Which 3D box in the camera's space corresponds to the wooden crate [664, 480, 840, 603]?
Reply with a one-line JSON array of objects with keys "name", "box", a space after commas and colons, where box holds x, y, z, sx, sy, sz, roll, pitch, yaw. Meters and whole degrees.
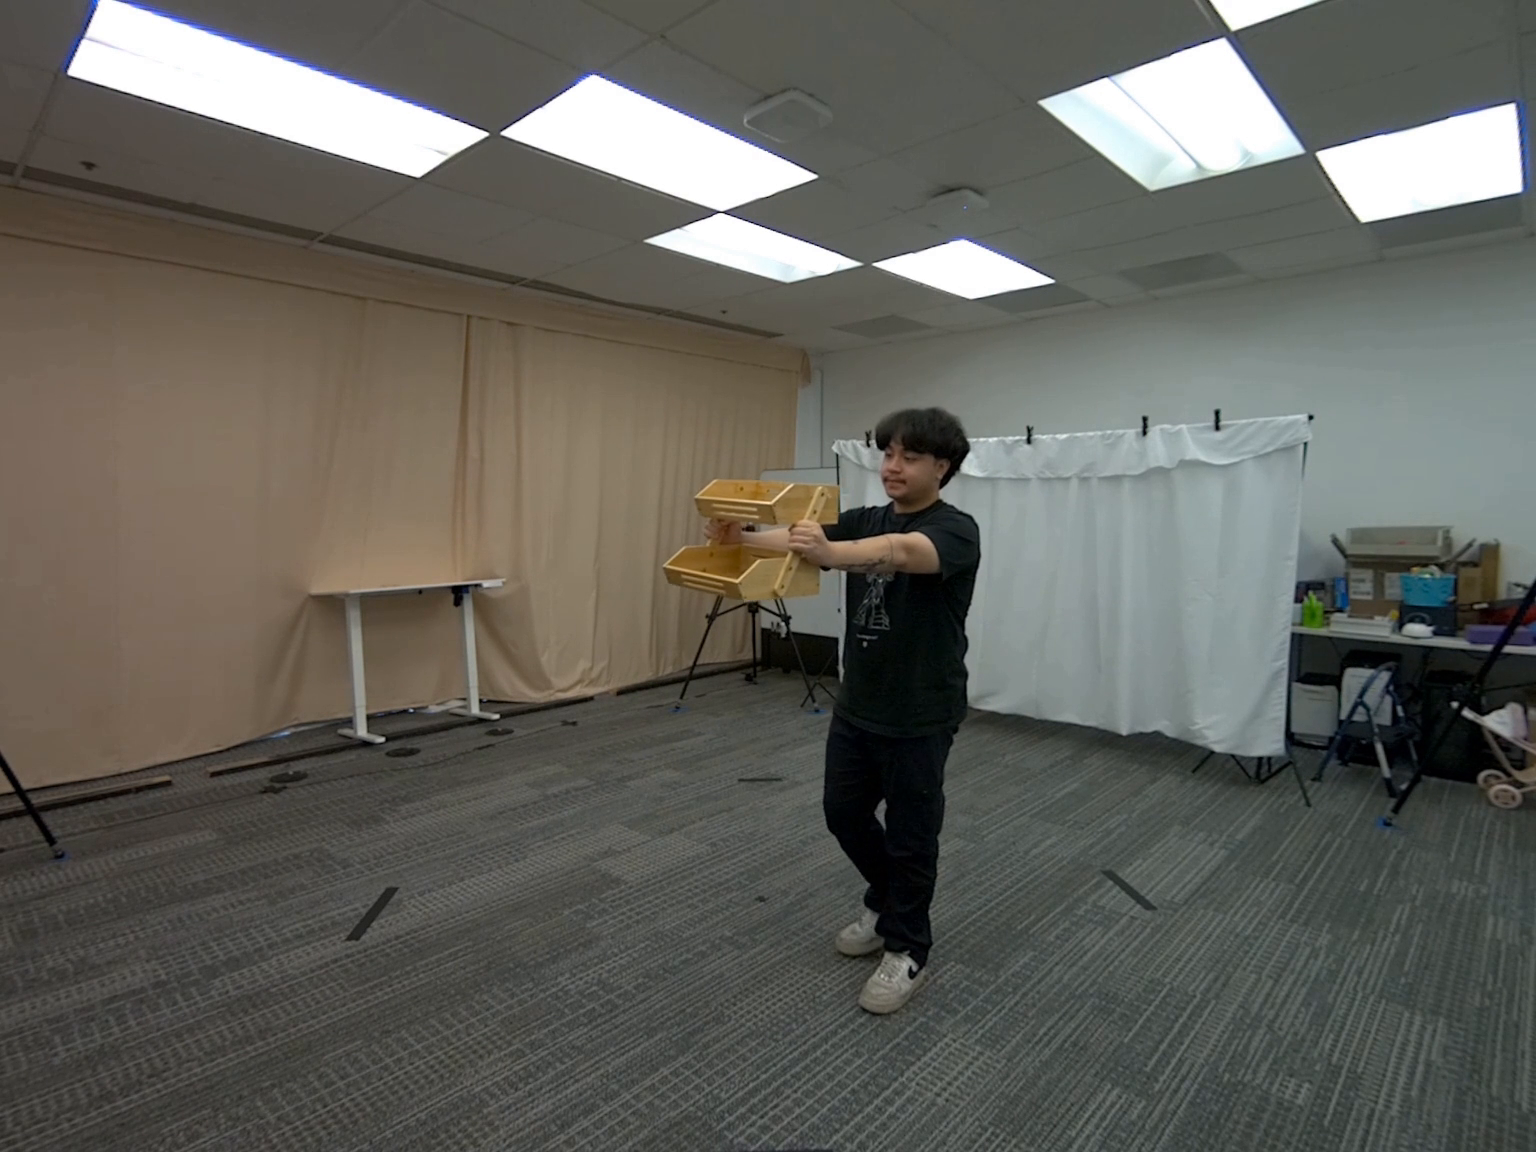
[{"name": "wooden crate", "box": [-0.045, -0.104, 2.047, 0.293, 0.272, 0.336, -3, 9, -39]}]
